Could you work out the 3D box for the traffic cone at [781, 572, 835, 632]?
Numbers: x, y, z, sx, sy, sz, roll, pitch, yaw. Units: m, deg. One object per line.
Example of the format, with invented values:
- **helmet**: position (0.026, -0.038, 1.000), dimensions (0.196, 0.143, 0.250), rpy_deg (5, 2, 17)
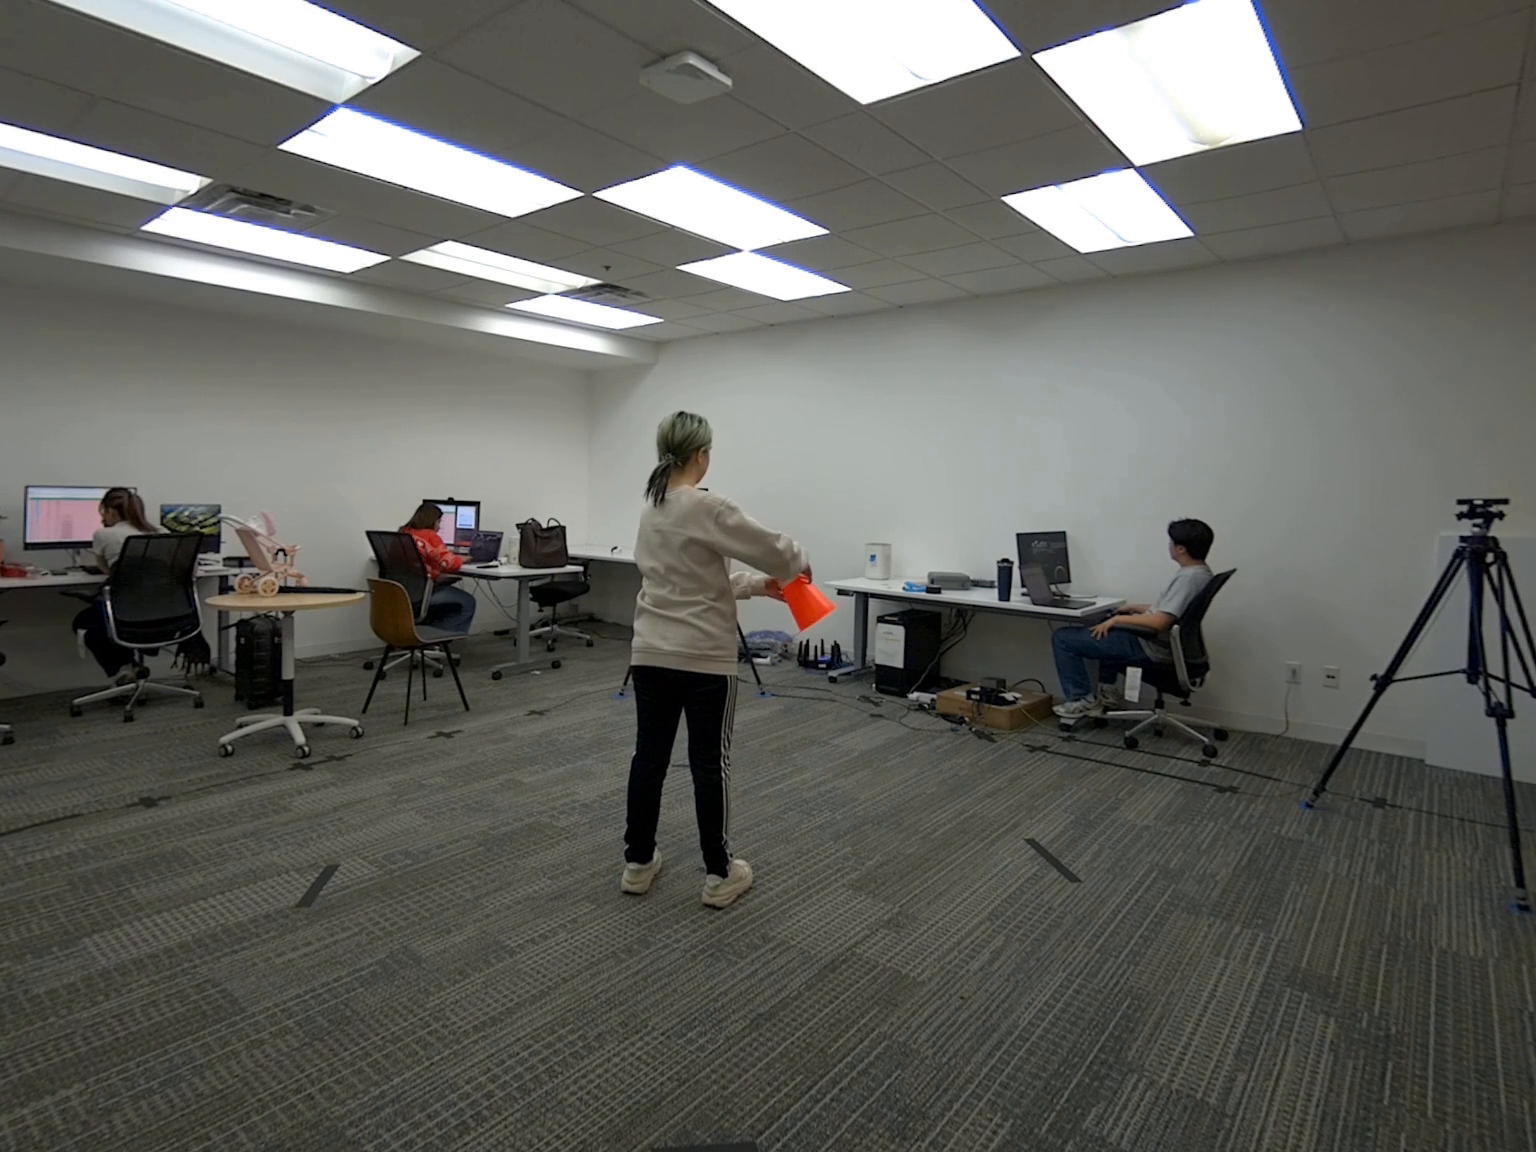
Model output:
- **traffic cone**: position (0.065, 0.002, 3.136), dimensions (0.201, 0.386, 0.206), rpy_deg (-30, -5, -38)
